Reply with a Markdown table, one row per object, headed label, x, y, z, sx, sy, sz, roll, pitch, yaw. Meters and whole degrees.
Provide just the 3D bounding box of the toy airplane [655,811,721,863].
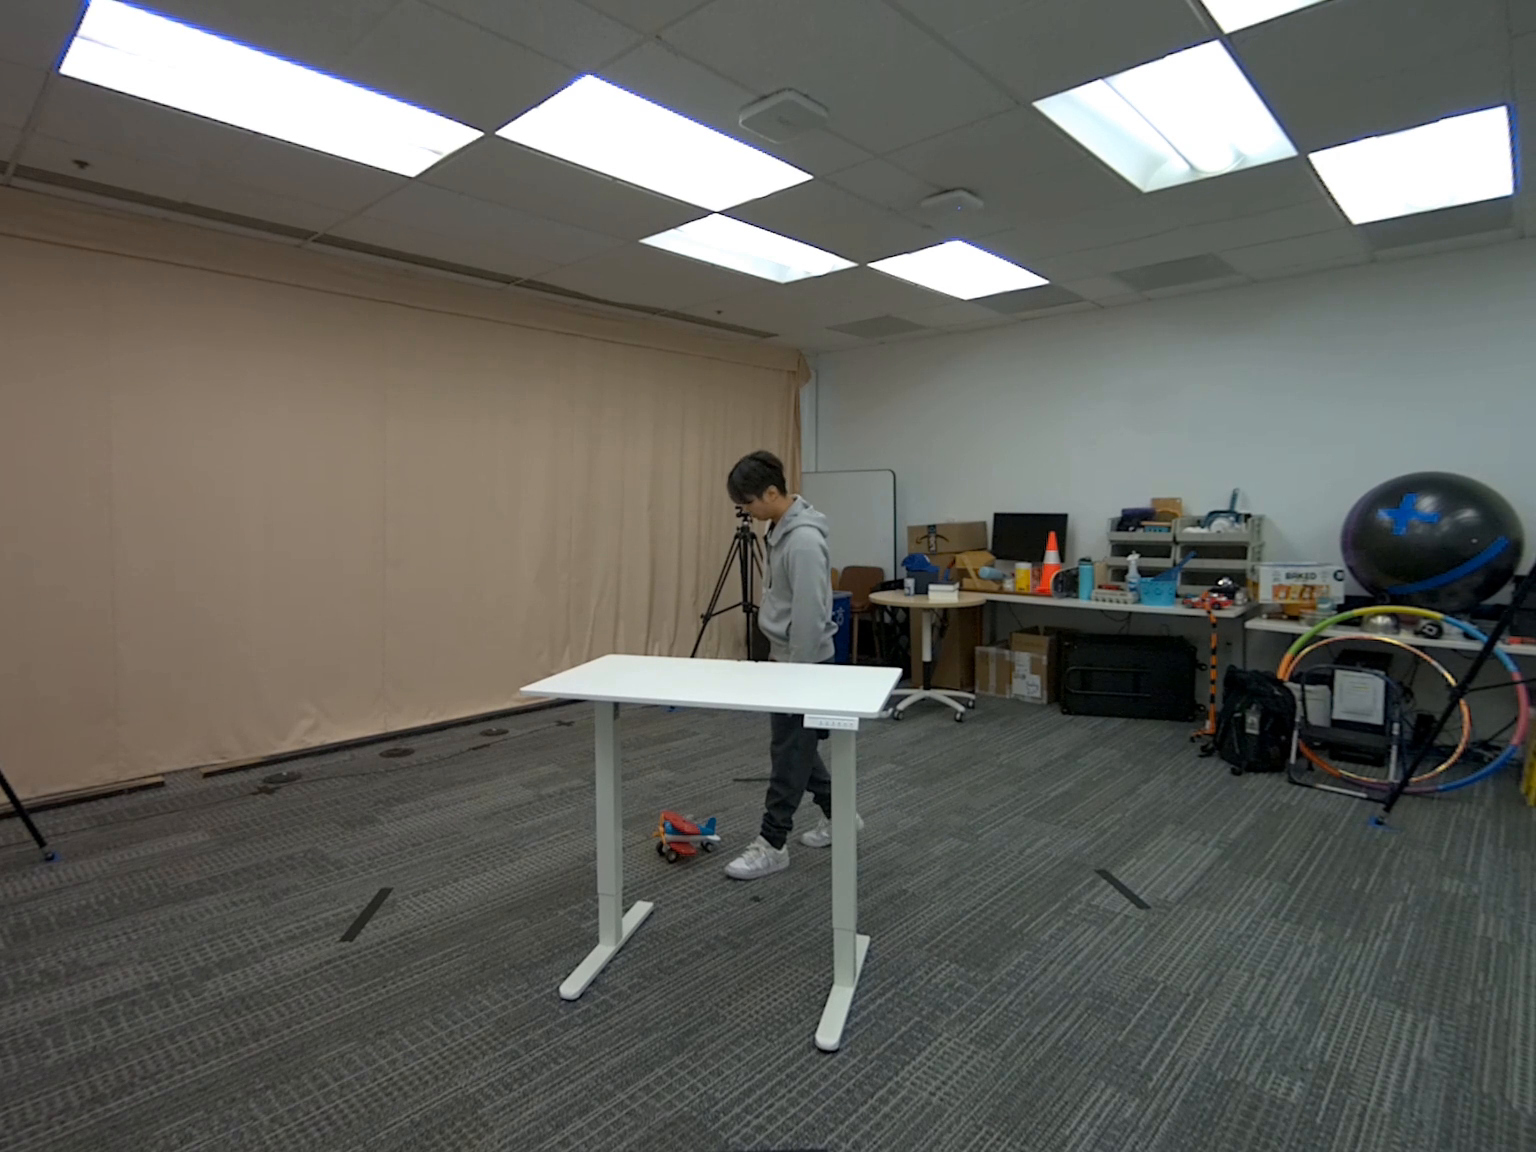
| label | x | y | z | sx | sy | sz | roll | pitch | yaw |
| --- | --- | --- | --- | --- | --- | --- | --- | --- | --- |
| toy airplane | -0.341 | 1.040 | 3.379 | 0.258 | 0.156 | 0.252 | 1 | 6 | 32 |
